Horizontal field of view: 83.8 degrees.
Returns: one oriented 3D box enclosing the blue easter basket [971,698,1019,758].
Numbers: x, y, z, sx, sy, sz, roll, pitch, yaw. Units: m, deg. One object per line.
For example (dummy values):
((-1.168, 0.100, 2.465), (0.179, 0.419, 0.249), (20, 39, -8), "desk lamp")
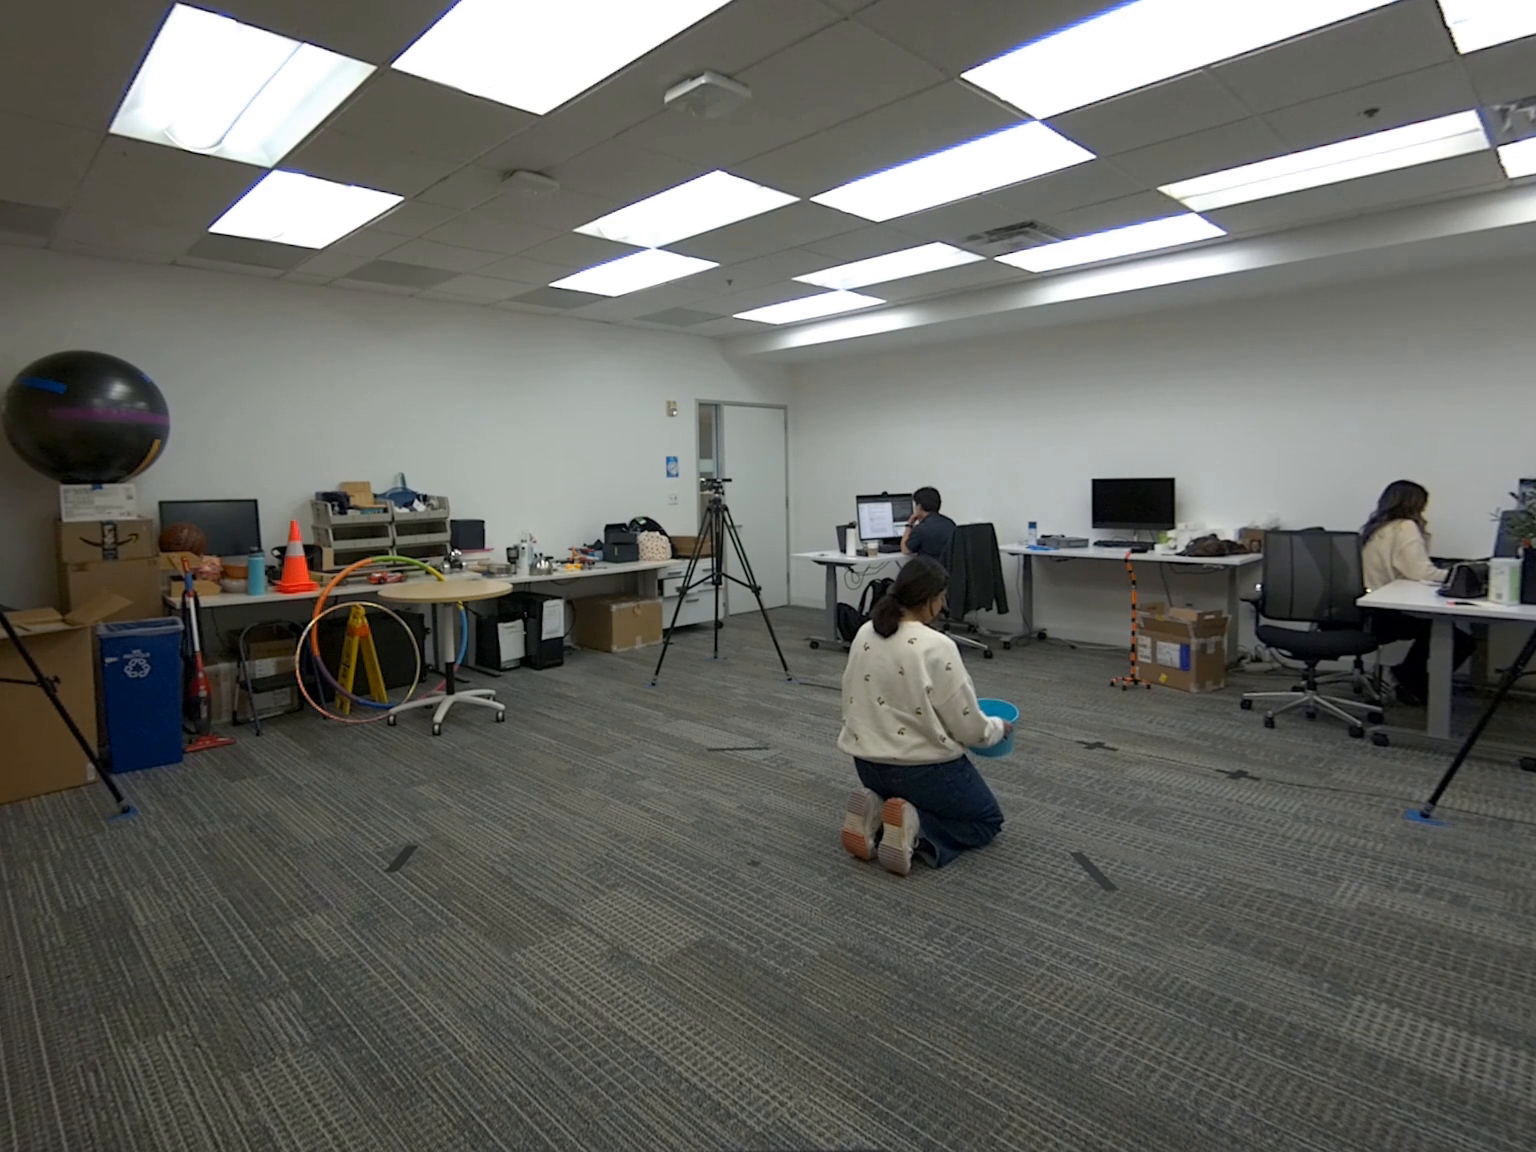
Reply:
((0.890, 0.609, 3.420), (0.244, 0.153, 0.247), (-6, 16, 0), "blue easter basket")
